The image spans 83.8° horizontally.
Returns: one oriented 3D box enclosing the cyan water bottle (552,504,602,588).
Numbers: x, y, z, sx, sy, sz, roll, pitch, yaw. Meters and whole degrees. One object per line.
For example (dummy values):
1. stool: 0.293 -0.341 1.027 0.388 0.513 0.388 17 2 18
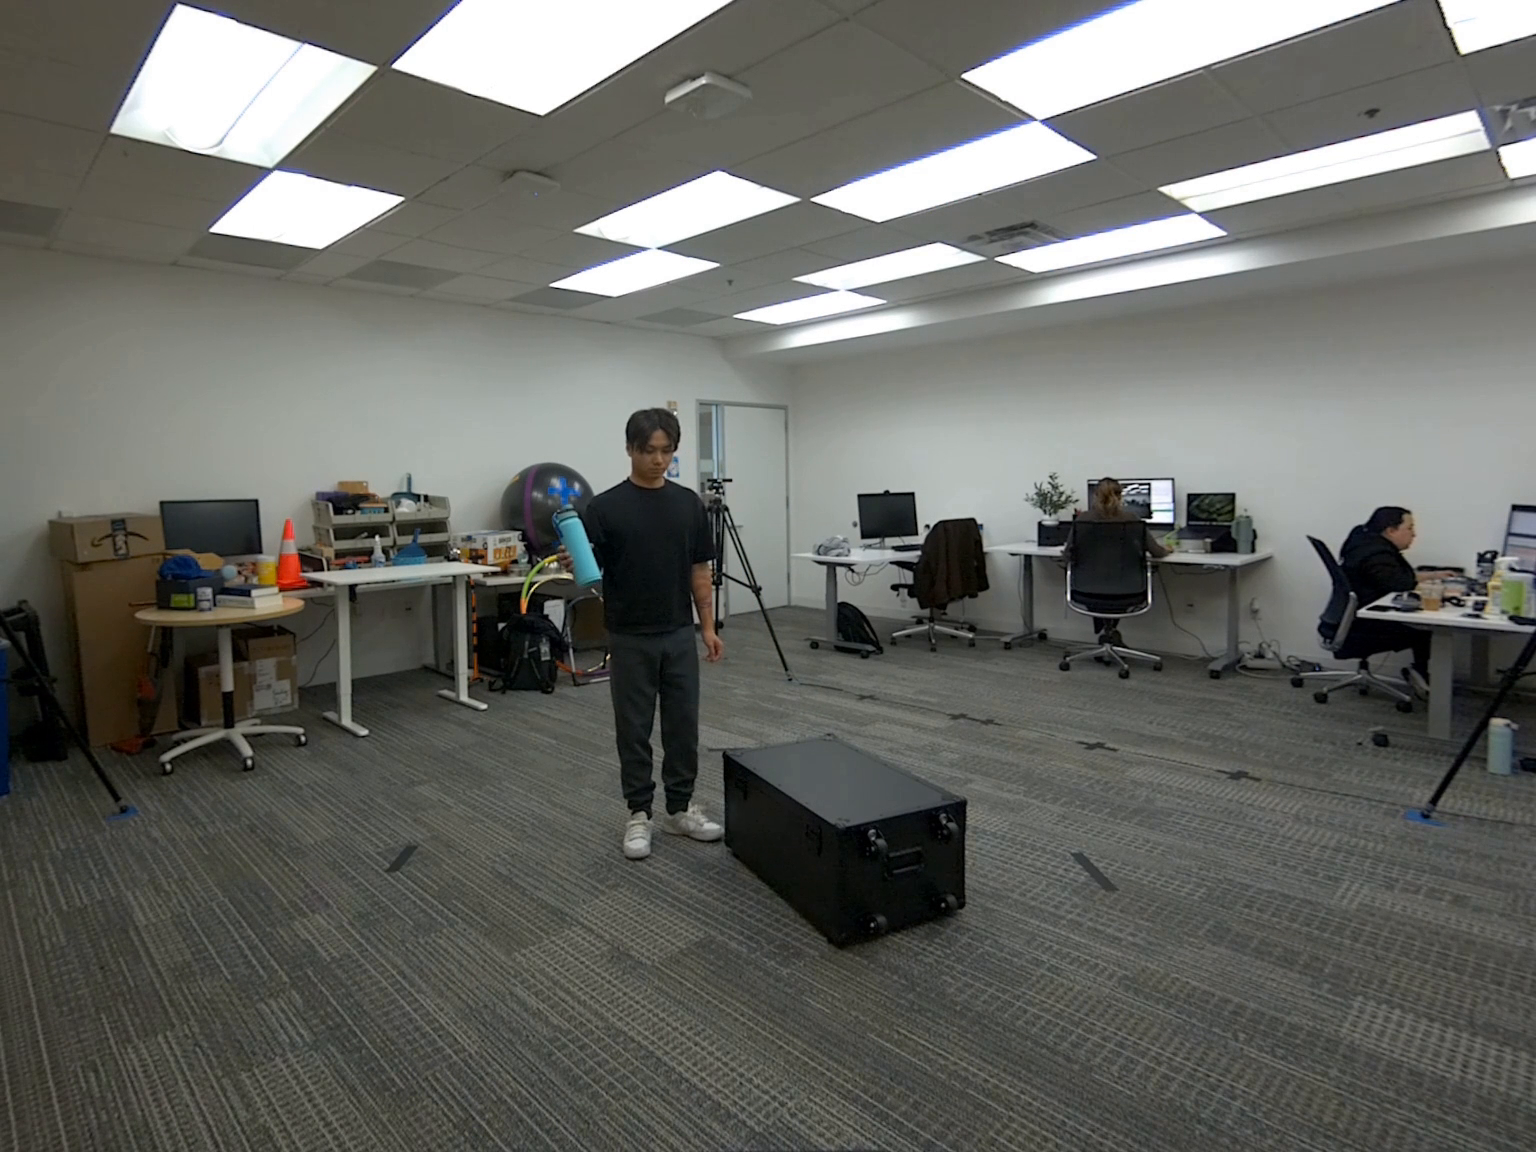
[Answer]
1. cyan water bottle: -0.660 -0.103 2.922 0.092 0.286 0.091 -21 -8 -4
